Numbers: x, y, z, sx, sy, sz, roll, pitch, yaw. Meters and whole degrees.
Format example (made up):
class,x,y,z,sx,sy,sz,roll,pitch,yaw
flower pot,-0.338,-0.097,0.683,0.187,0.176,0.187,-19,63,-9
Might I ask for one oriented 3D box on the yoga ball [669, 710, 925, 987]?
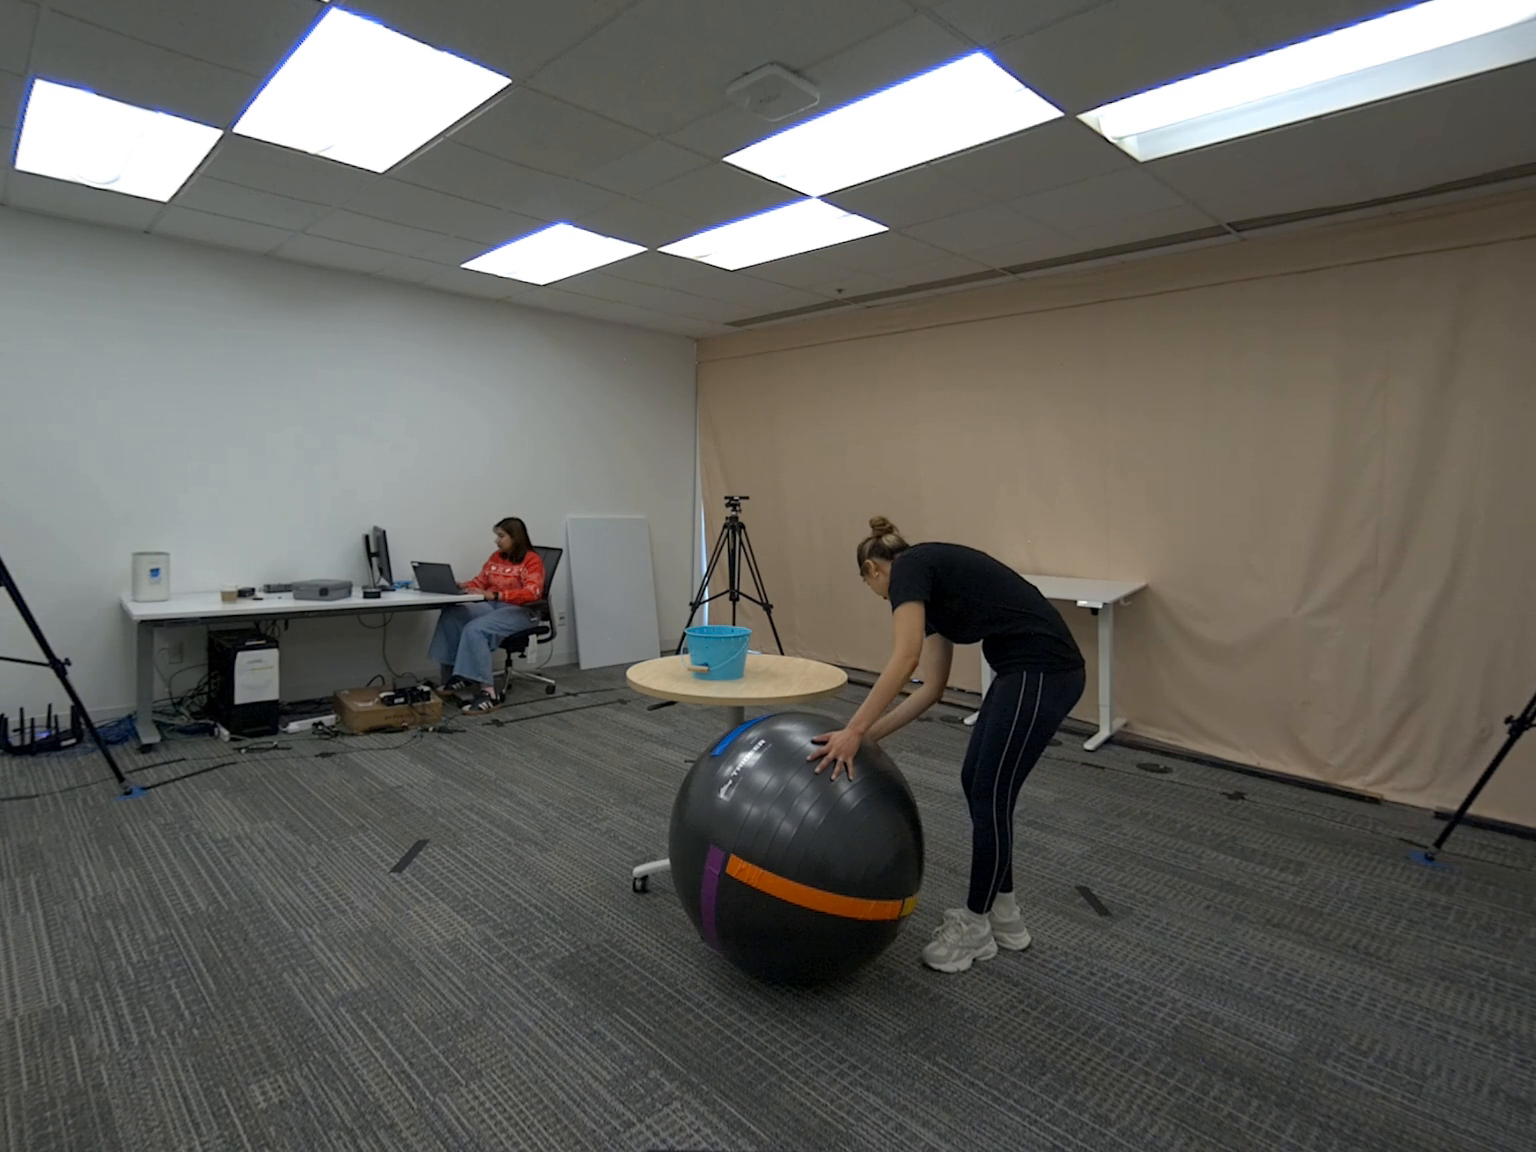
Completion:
class,x,y,z,sx,sy,sz,roll,pitch,yaw
yoga ball,0.081,0.802,2.499,0.757,0.756,0.761,1,4,-1
